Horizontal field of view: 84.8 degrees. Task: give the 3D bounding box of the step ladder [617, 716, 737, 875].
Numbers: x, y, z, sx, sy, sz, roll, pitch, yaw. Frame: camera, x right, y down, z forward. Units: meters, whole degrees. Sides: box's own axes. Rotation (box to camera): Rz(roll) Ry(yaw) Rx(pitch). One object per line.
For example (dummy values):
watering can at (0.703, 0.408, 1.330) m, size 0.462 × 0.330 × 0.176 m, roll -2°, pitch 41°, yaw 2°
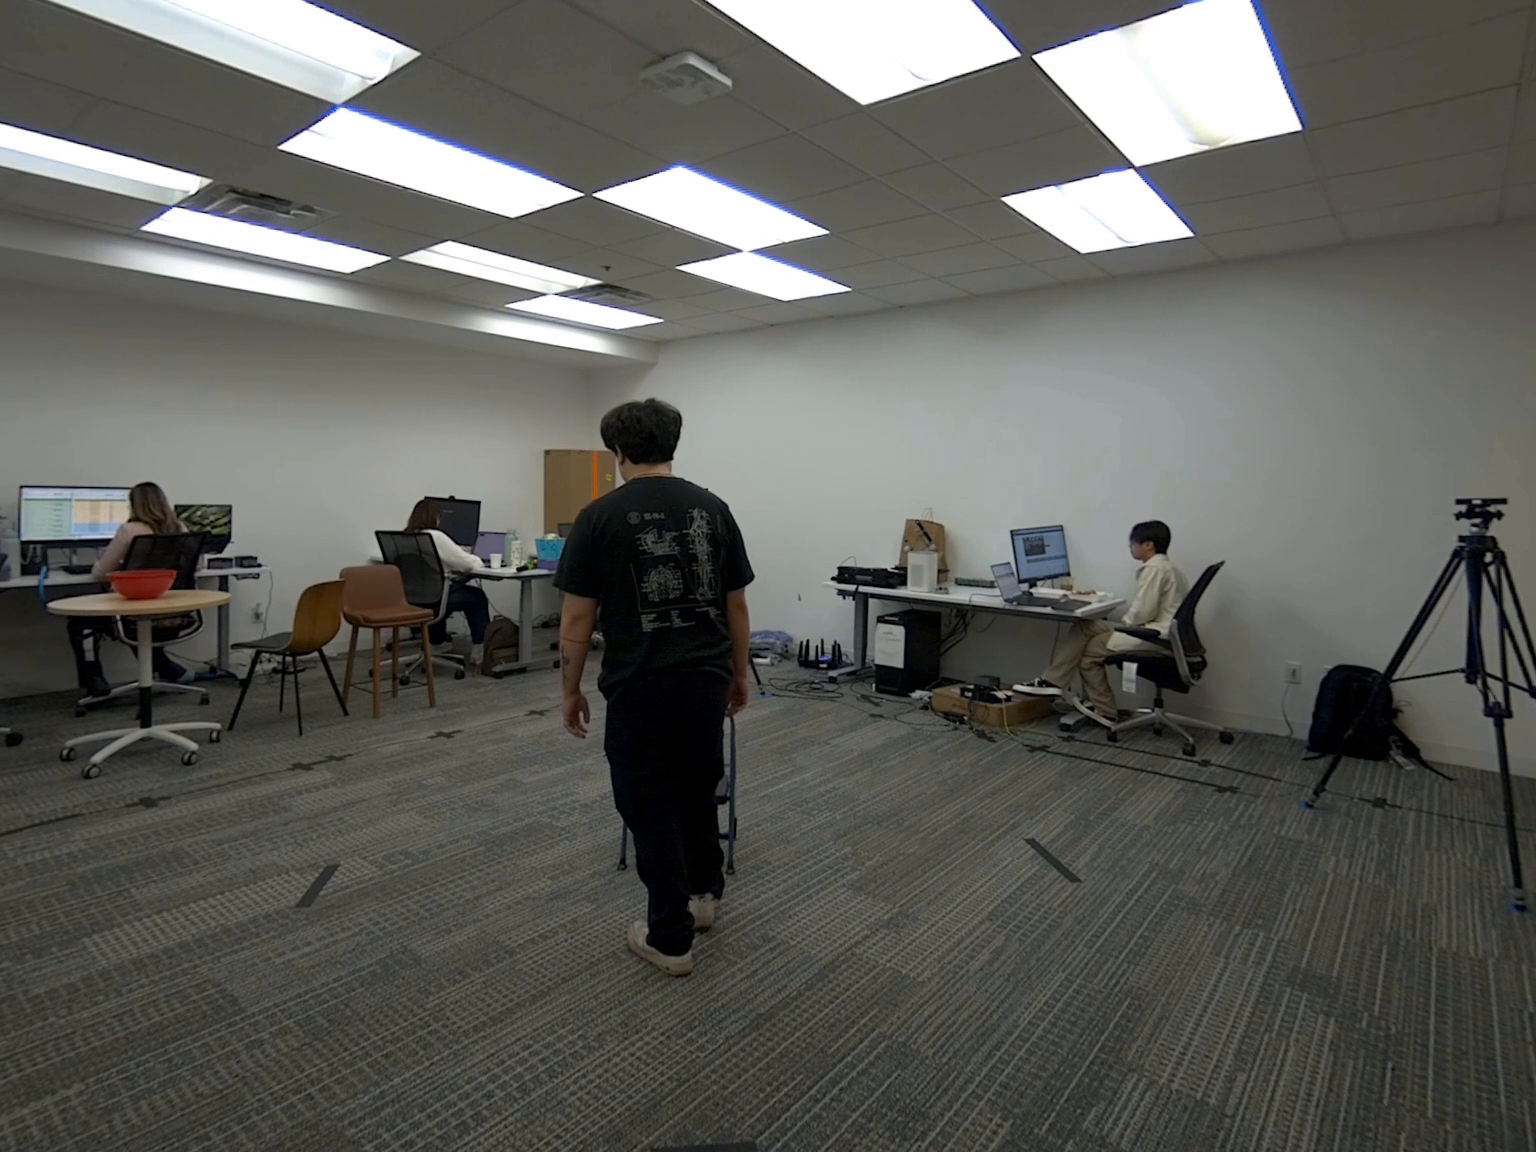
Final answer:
step ladder at (-0.335, 0.756, 3.238) m, size 0.432 × 0.604 × 0.349 m, roll 1°, pitch 4°, yaw 2°
